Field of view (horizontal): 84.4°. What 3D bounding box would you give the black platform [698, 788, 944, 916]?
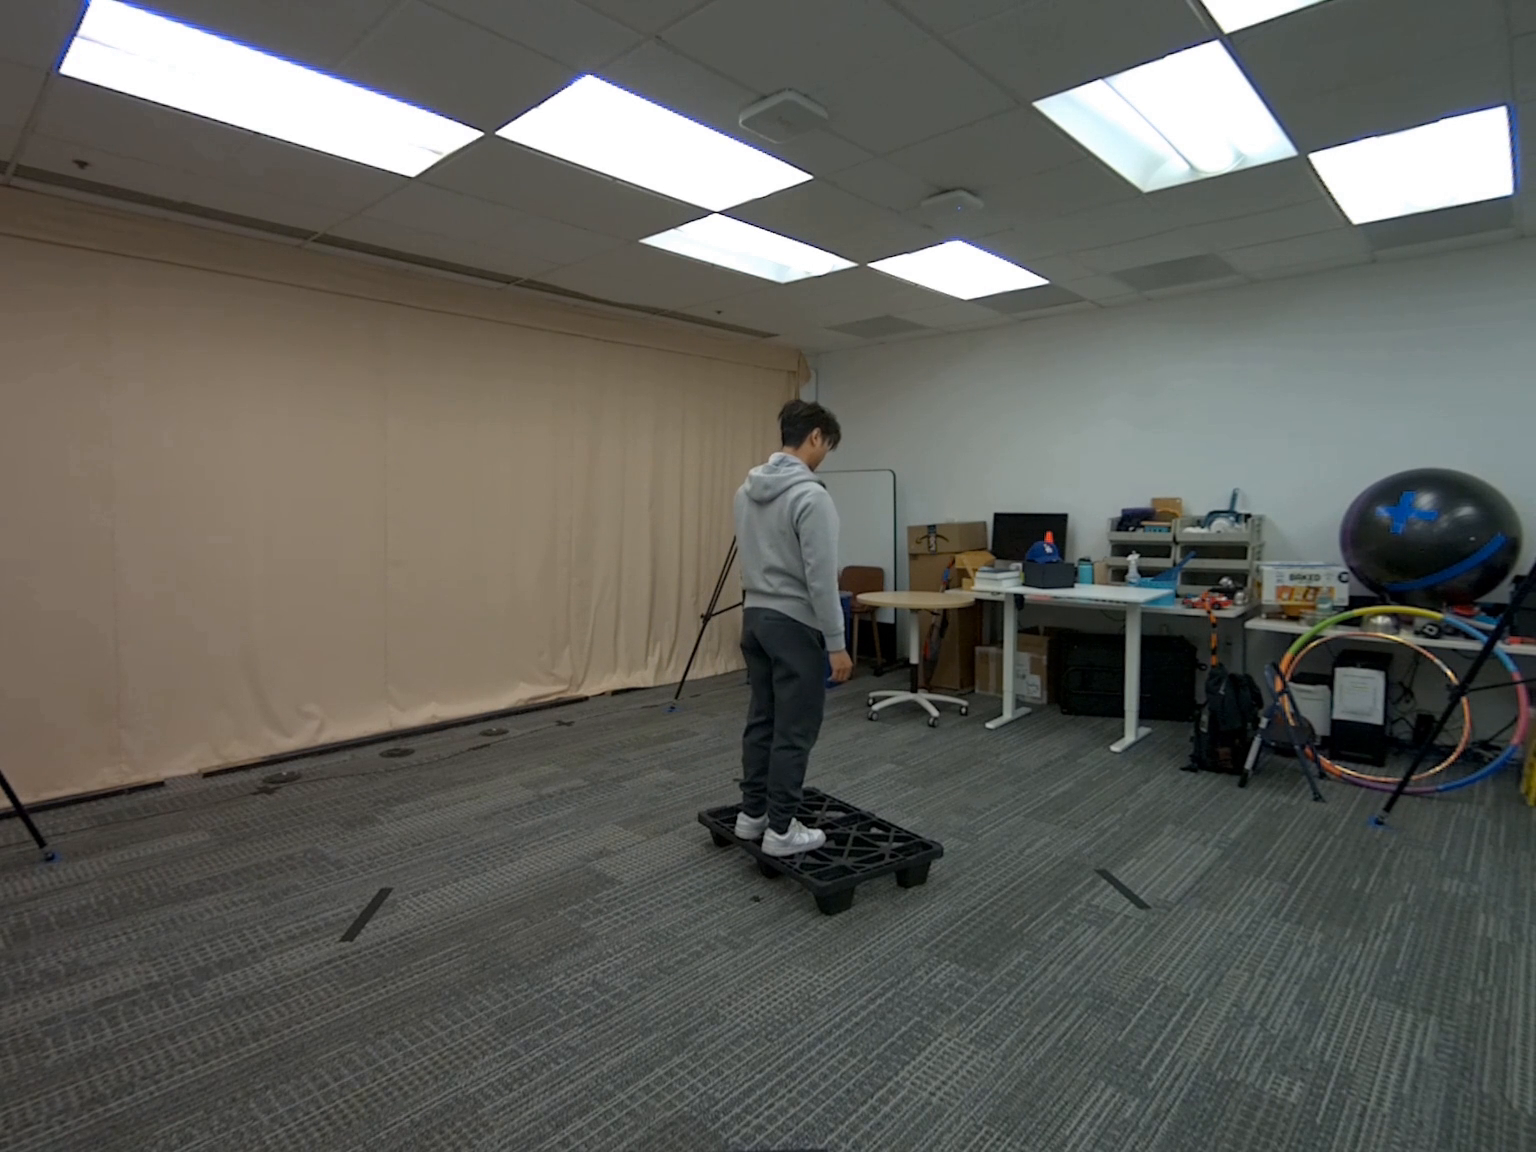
[{"bbox_3d":[0.180,1.051,3.275,0.588,0.143,0.831,-4,6,-34],"label":"black platform"}]
